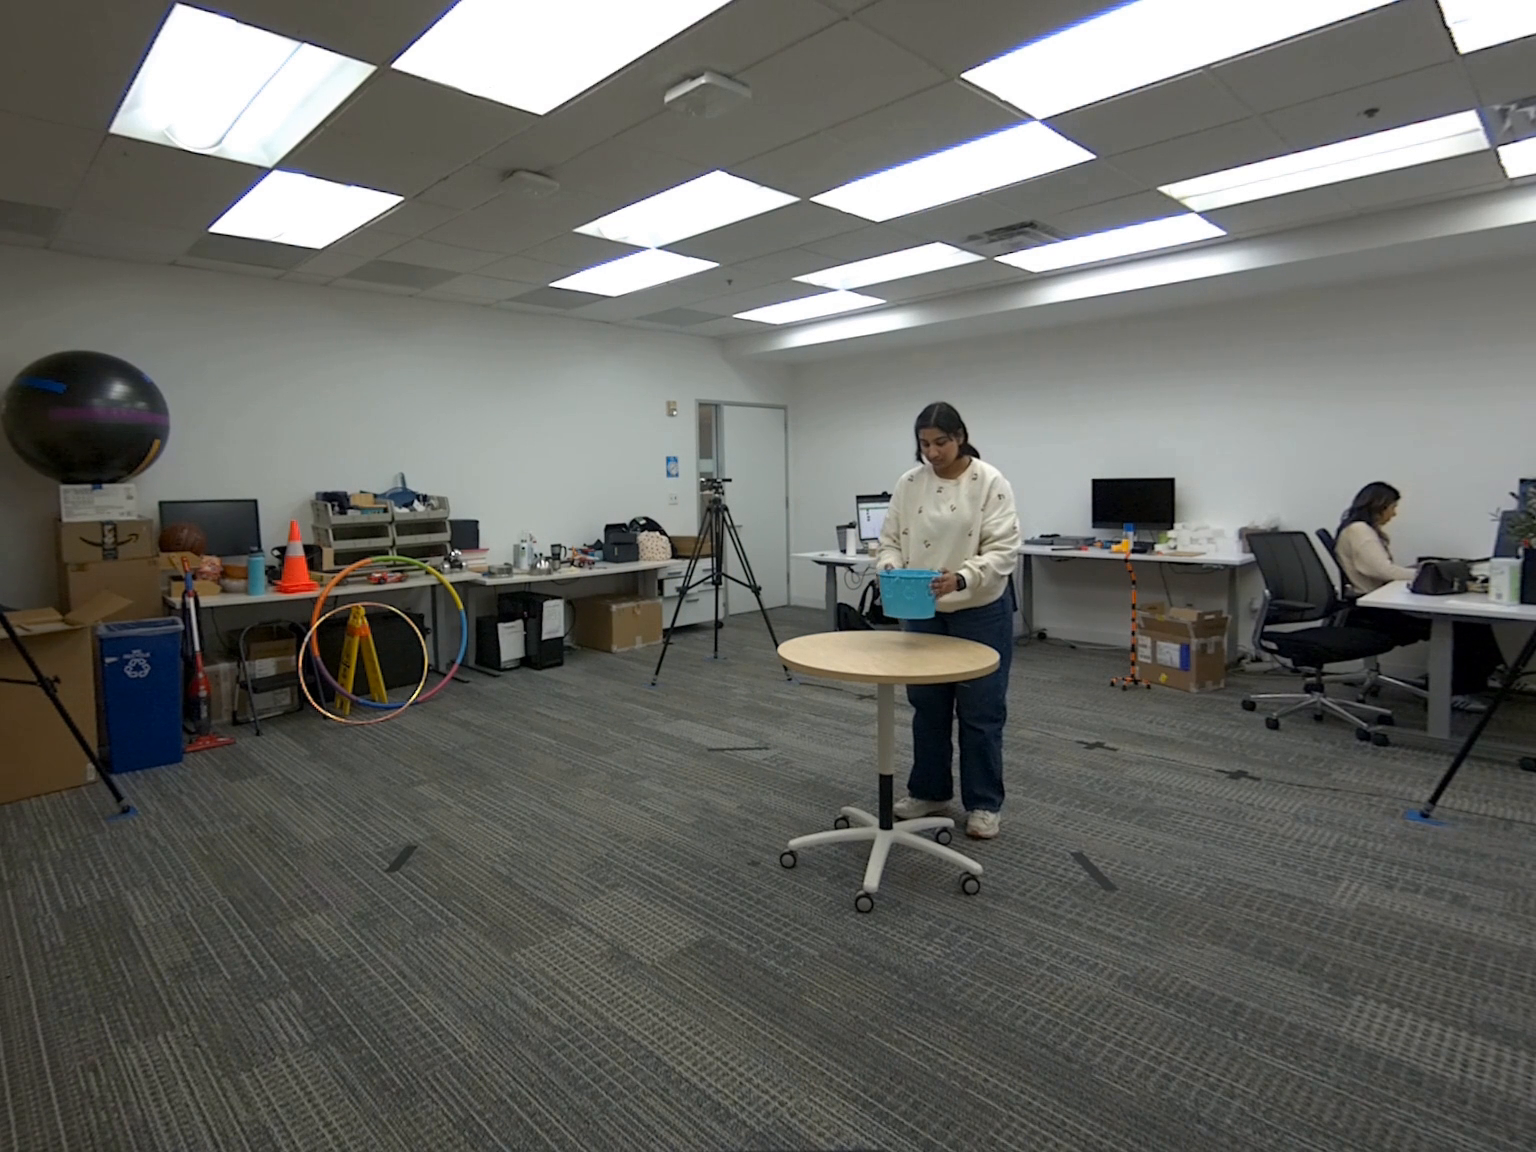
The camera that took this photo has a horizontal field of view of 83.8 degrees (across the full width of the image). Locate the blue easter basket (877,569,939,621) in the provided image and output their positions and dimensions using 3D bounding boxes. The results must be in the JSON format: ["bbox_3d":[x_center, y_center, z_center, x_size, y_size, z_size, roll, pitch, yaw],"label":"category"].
[{"bbox_3d":[0.518,0.063,3.077,0.243,0.155,0.245,1,5,-2],"label":"blue easter basket"}]
